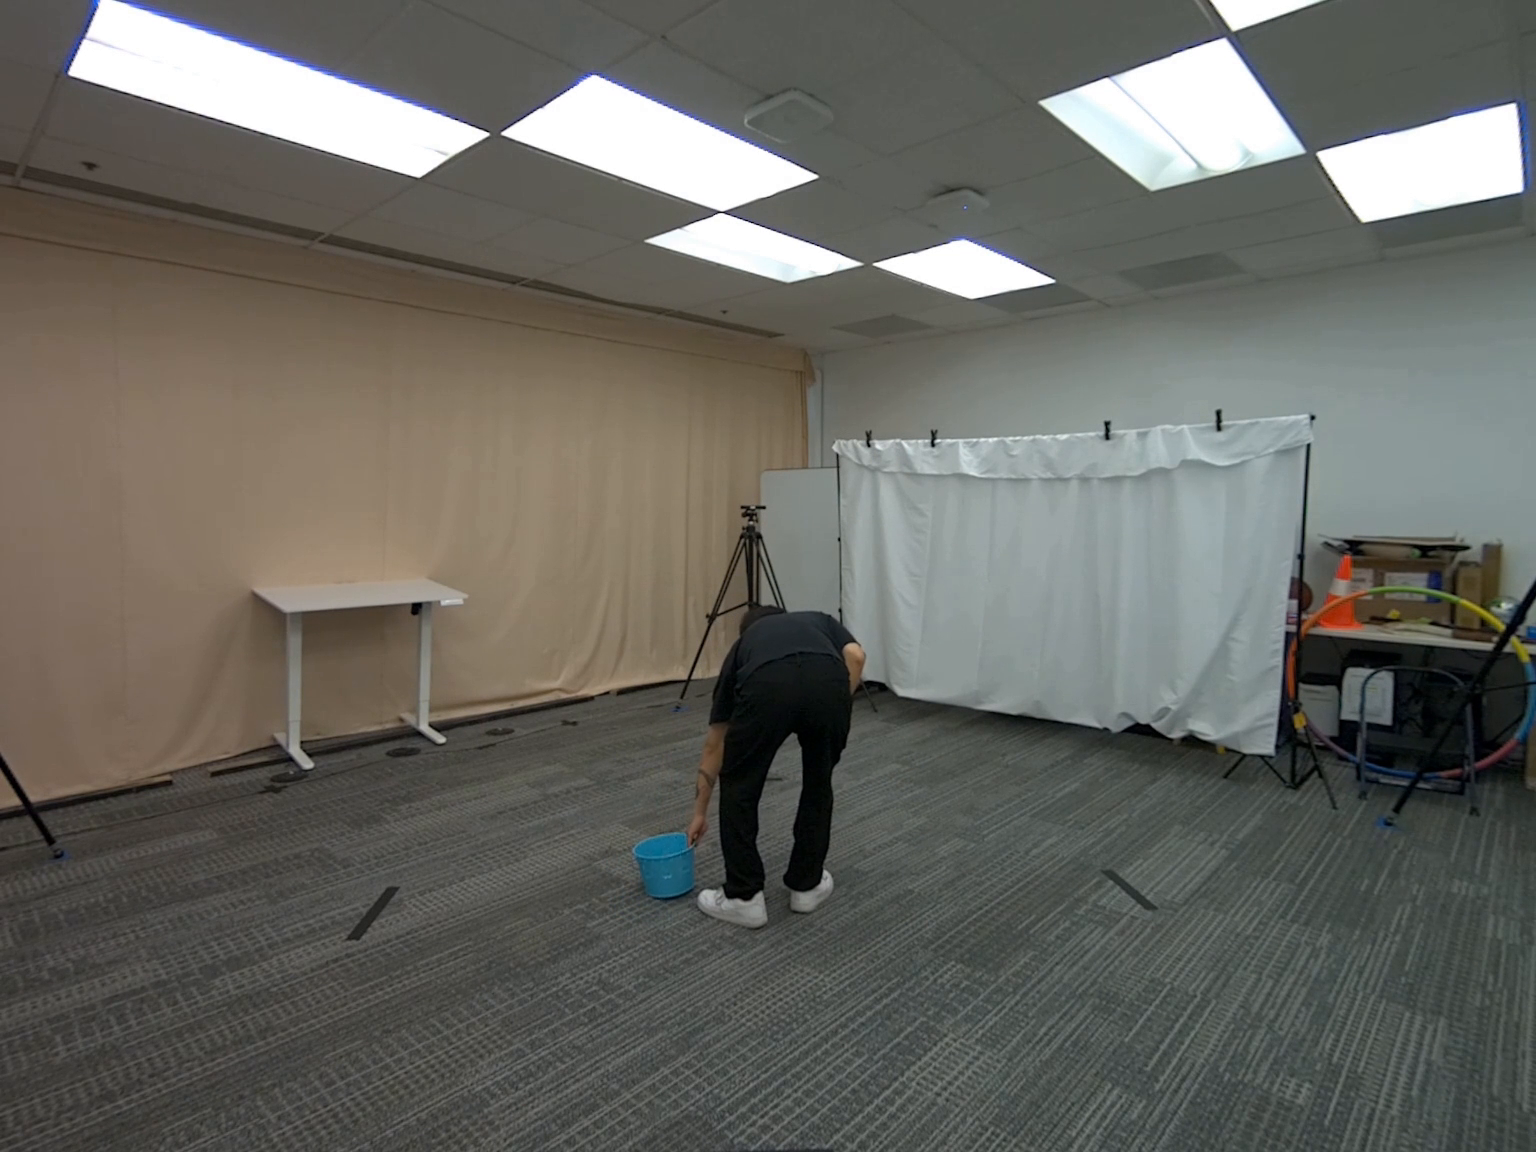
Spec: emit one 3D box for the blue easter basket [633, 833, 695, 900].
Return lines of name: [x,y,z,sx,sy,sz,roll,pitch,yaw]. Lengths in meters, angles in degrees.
blue easter basket: [-0.370,1.052,3.056,0.243,0.156,0.244,-7,2,-2]
